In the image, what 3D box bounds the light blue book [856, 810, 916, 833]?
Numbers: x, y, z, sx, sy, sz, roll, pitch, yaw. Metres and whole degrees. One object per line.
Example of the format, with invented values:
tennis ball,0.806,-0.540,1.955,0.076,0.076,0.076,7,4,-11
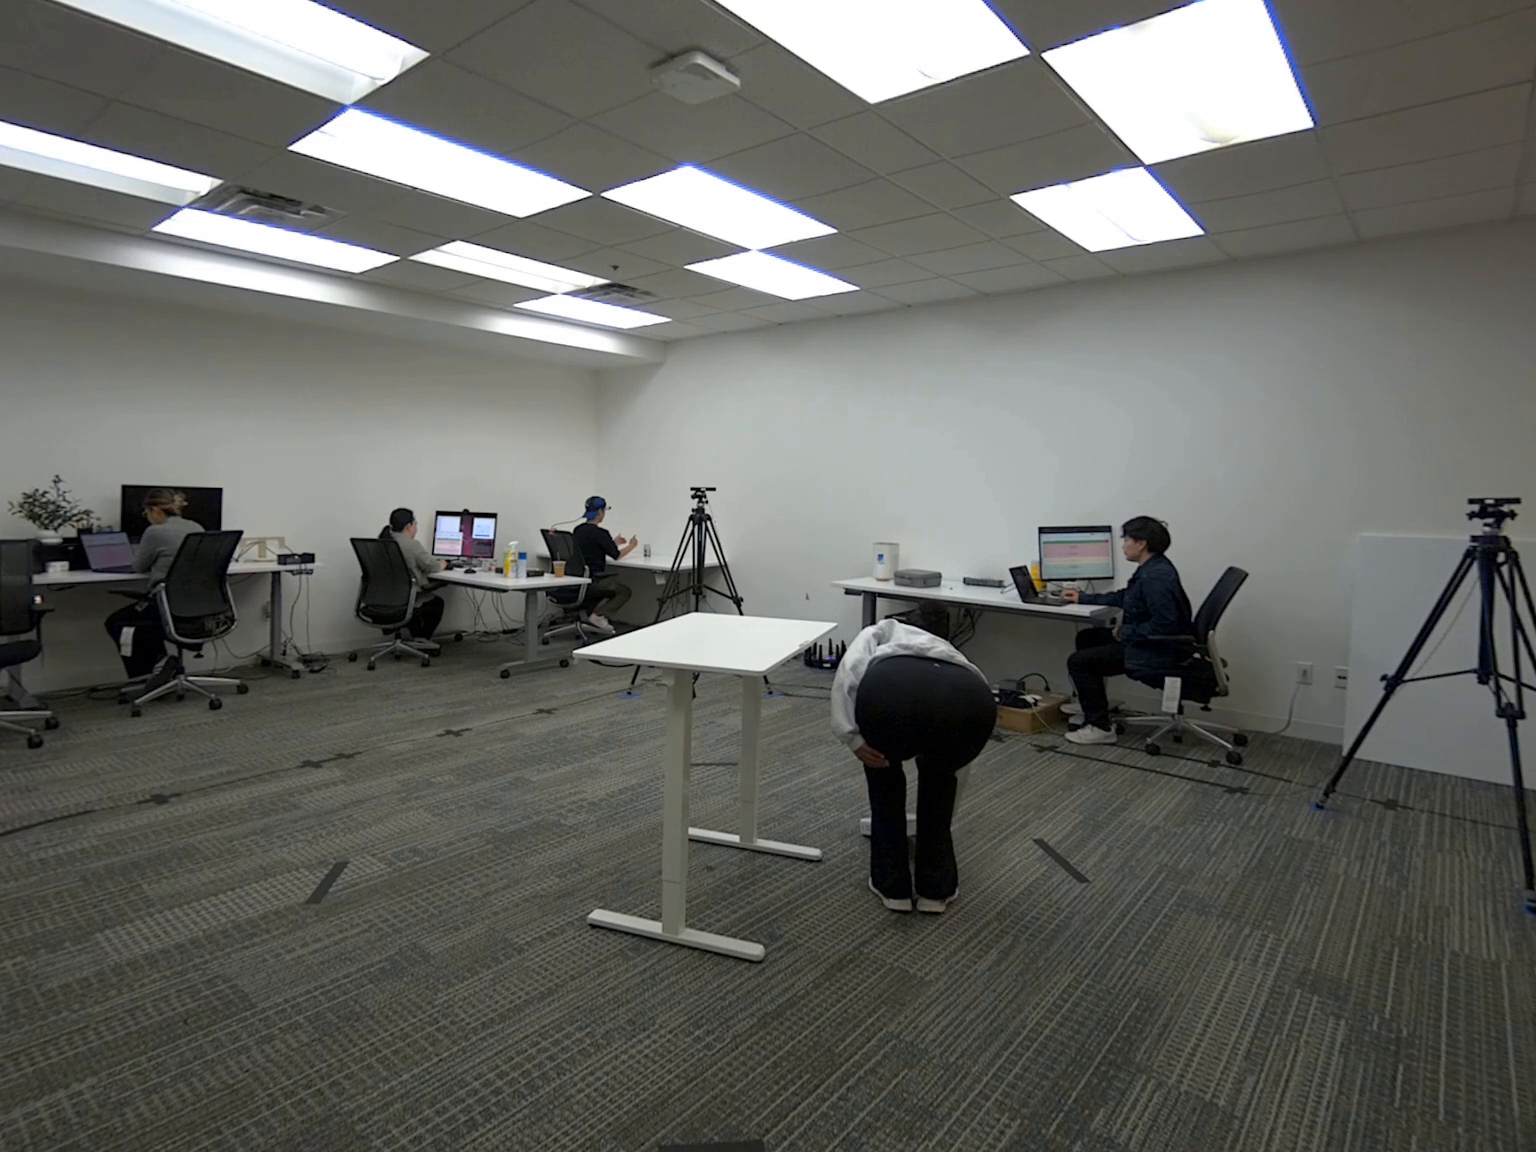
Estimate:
light blue book,0.505,0.978,3.364,0.187,0.060,0.263,0,-12,-23
